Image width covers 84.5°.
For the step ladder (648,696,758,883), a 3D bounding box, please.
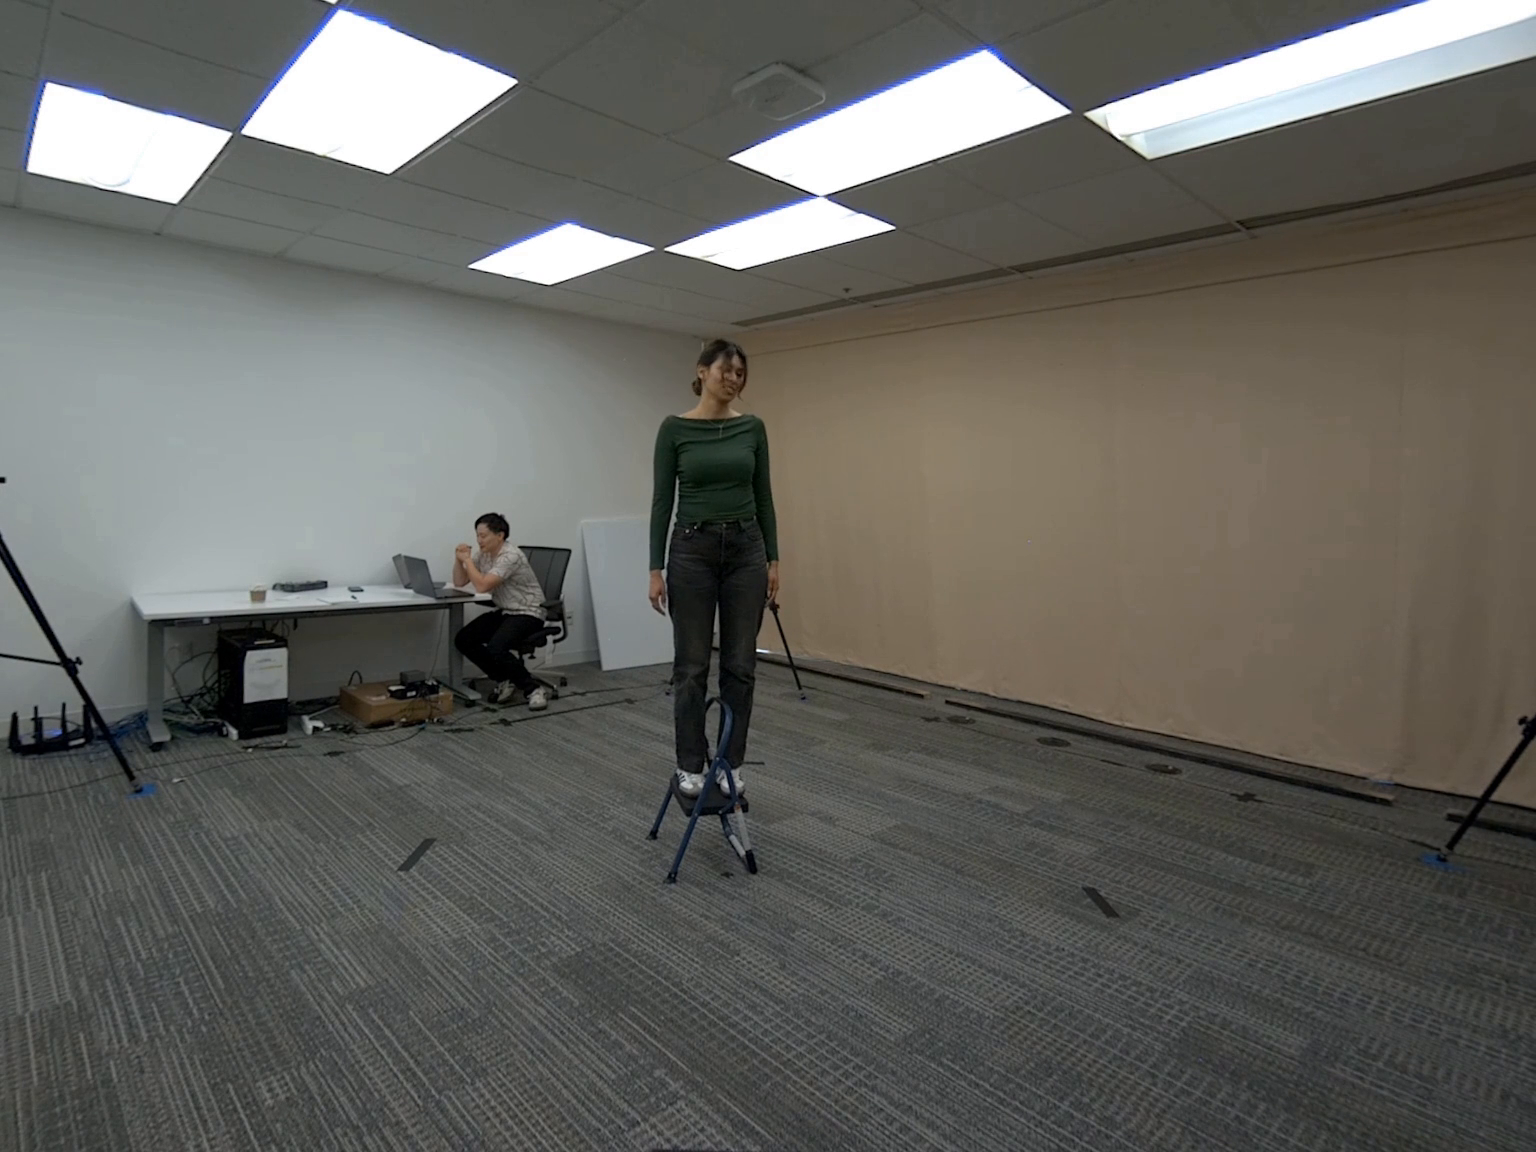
[{"bbox_3d":[-0.260,0.785,3.245,0.345,0.604,0.437,1,4,-17],"label":"step ladder"}]
